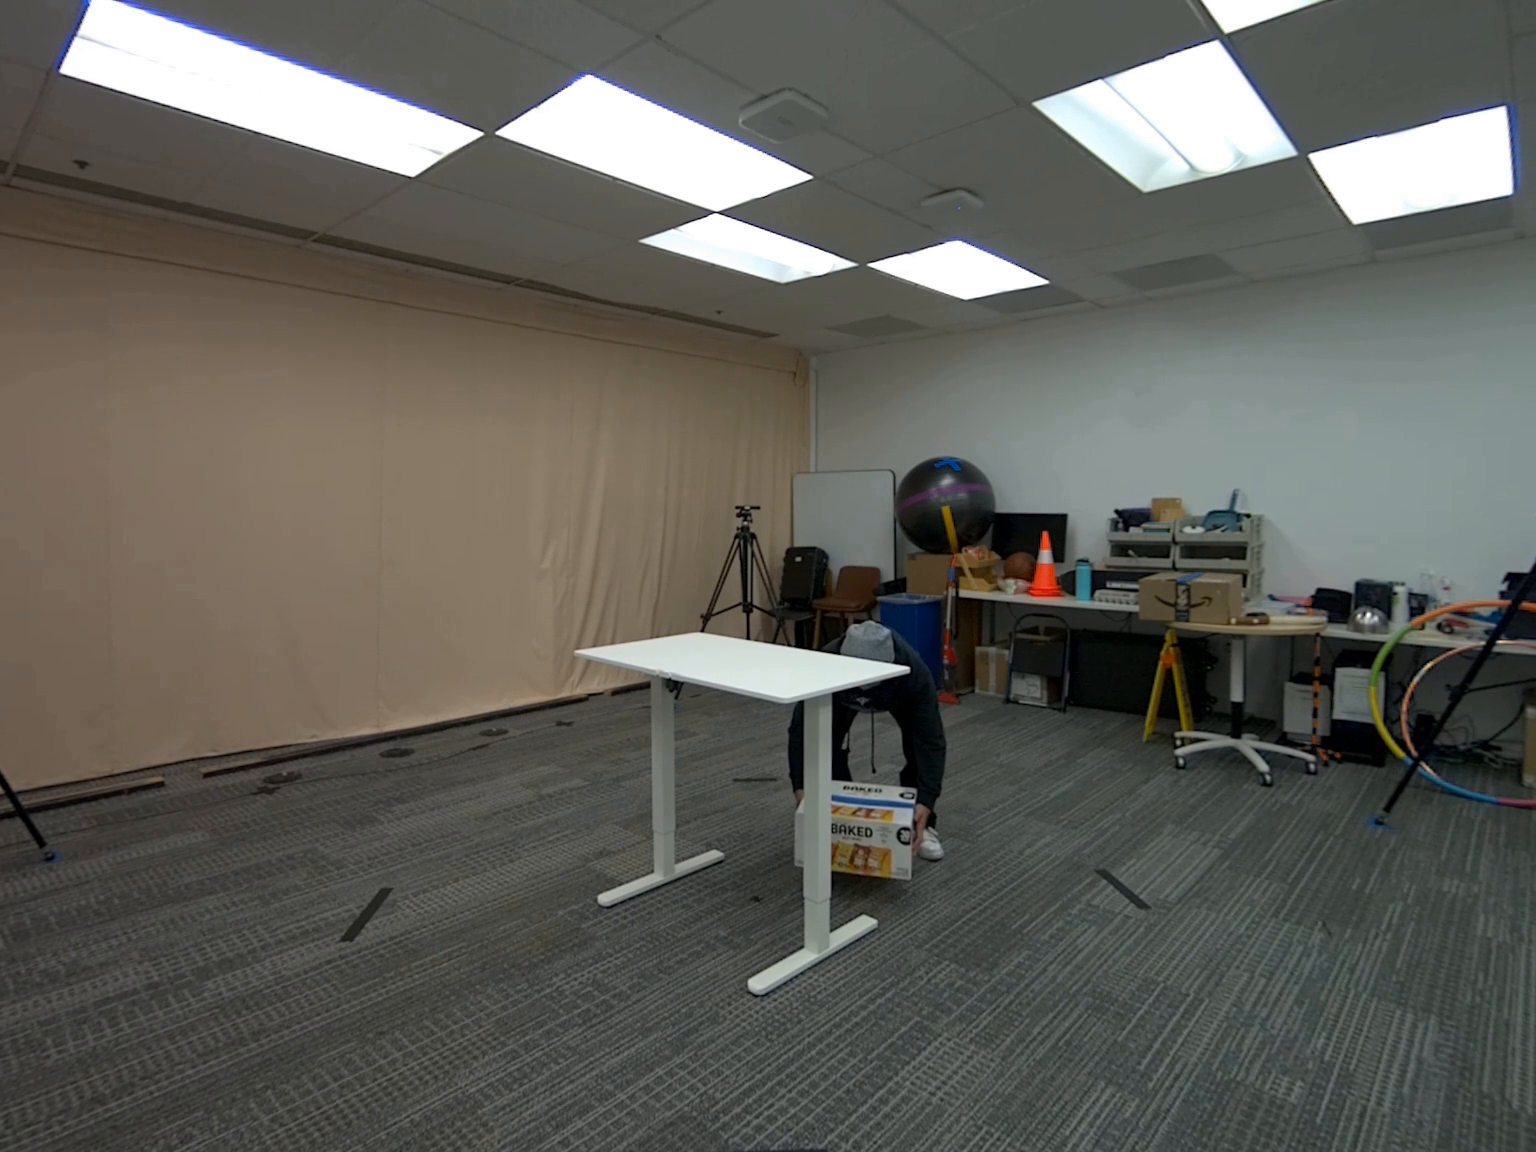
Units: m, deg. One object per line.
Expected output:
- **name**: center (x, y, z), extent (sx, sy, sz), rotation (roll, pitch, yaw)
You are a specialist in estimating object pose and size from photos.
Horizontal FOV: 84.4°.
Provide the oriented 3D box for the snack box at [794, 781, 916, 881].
- **snack box**: center (0.331, 0.917, 3.094), extent (0.412, 0.205, 0.336), rotation (2, 8, 15)
